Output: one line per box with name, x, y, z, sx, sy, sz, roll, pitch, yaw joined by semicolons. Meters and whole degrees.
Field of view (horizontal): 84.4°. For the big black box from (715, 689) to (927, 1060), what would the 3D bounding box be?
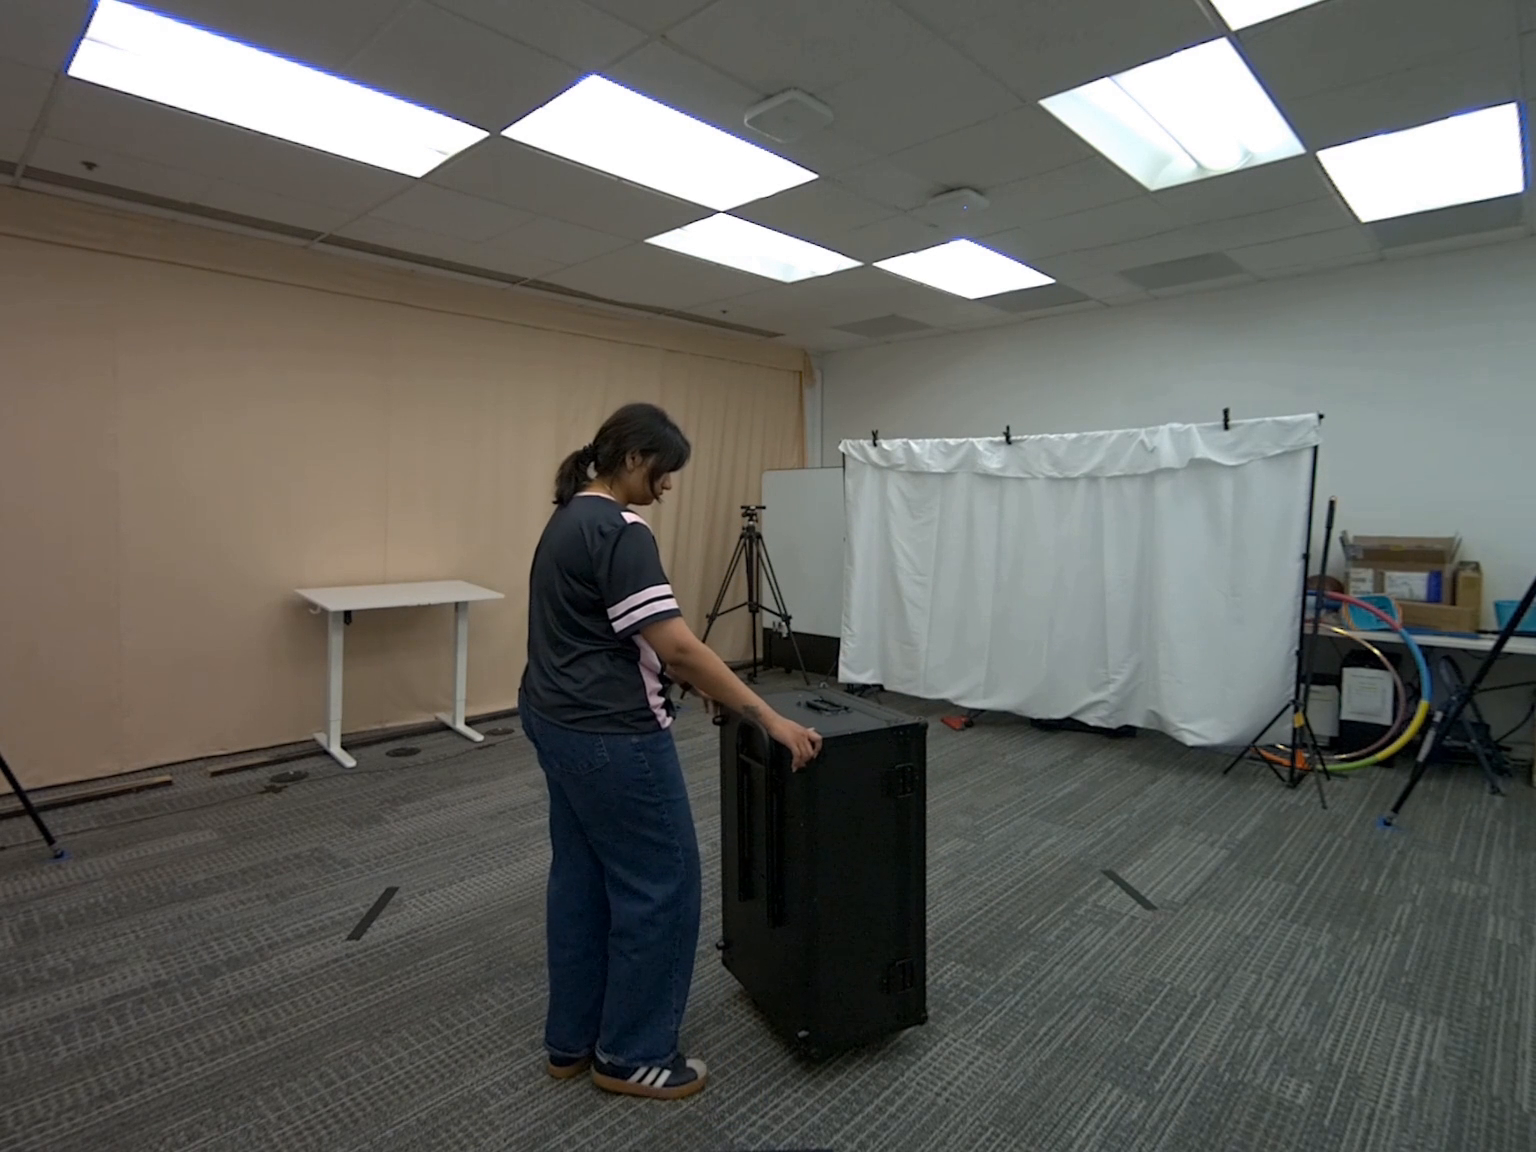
big black box;0.143;0.785;2.262;0.375;0.866;0.538;-3;4;-28
